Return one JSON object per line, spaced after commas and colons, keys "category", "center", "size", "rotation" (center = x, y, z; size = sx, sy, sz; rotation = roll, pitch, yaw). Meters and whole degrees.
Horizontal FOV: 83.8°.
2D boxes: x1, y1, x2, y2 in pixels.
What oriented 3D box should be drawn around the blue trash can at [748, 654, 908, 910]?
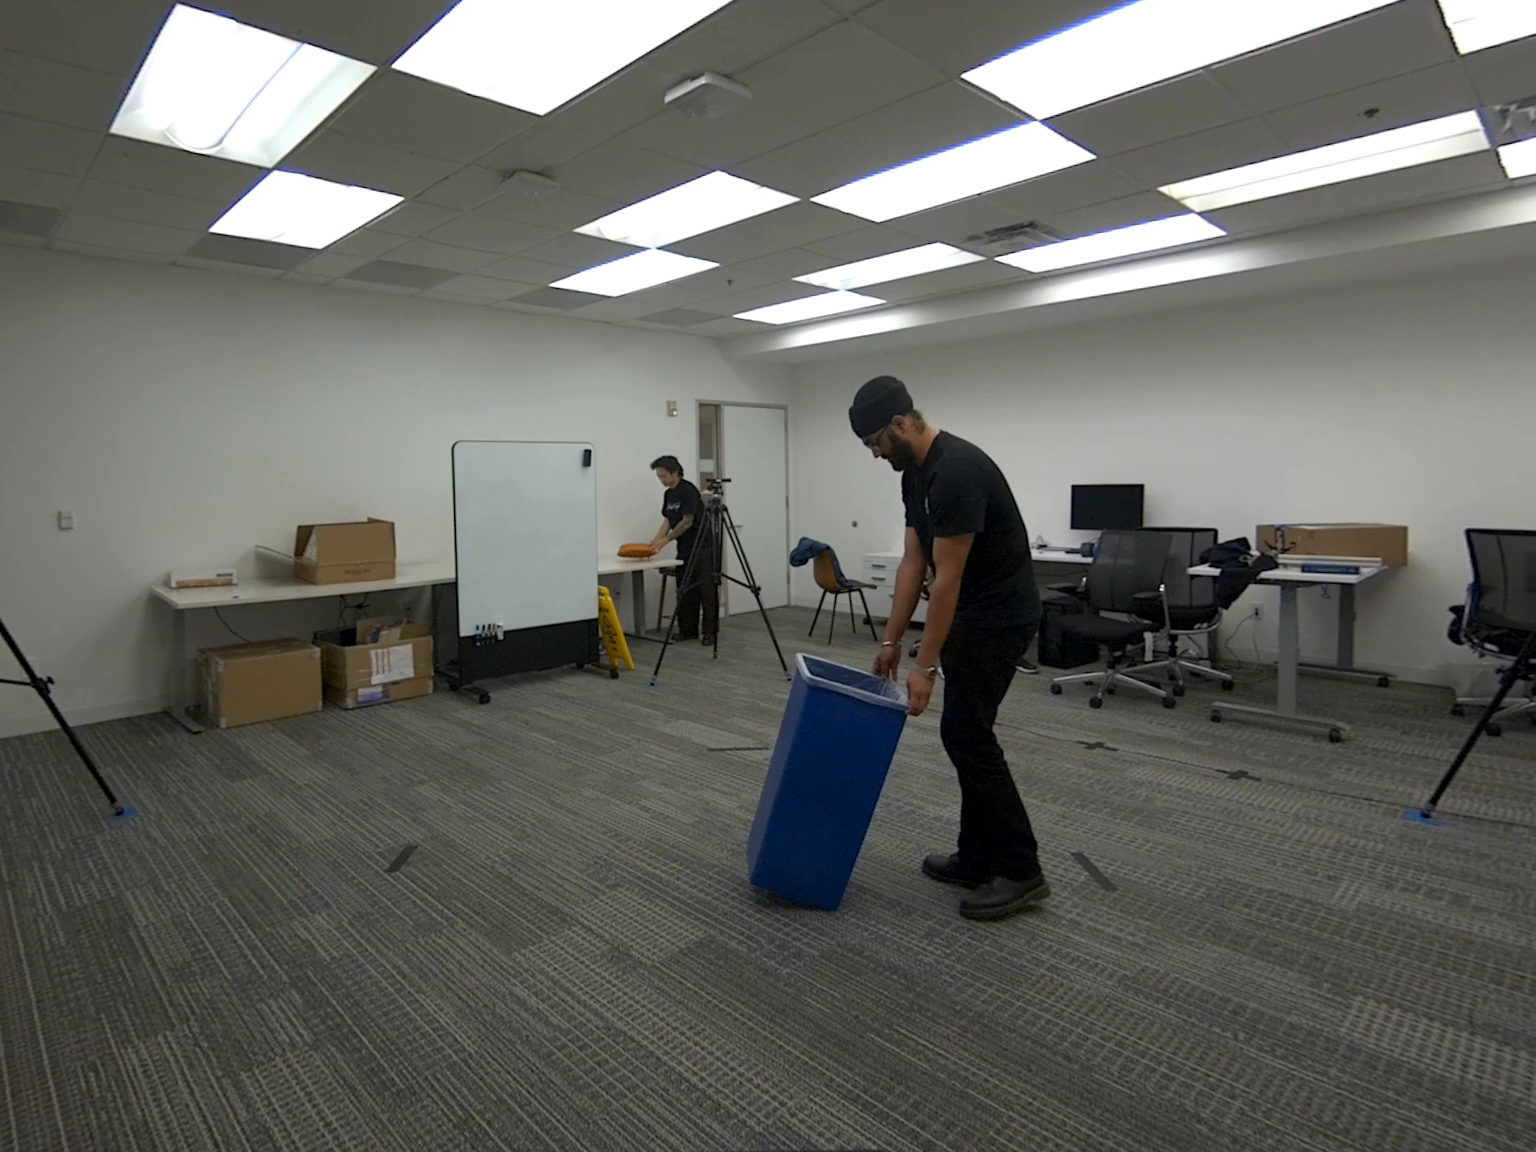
{"category": "blue trash can", "center": [0.191, 0.685, 2.876], "size": [0.373, 0.712, 0.380], "rotation": [16, 4, -4]}
